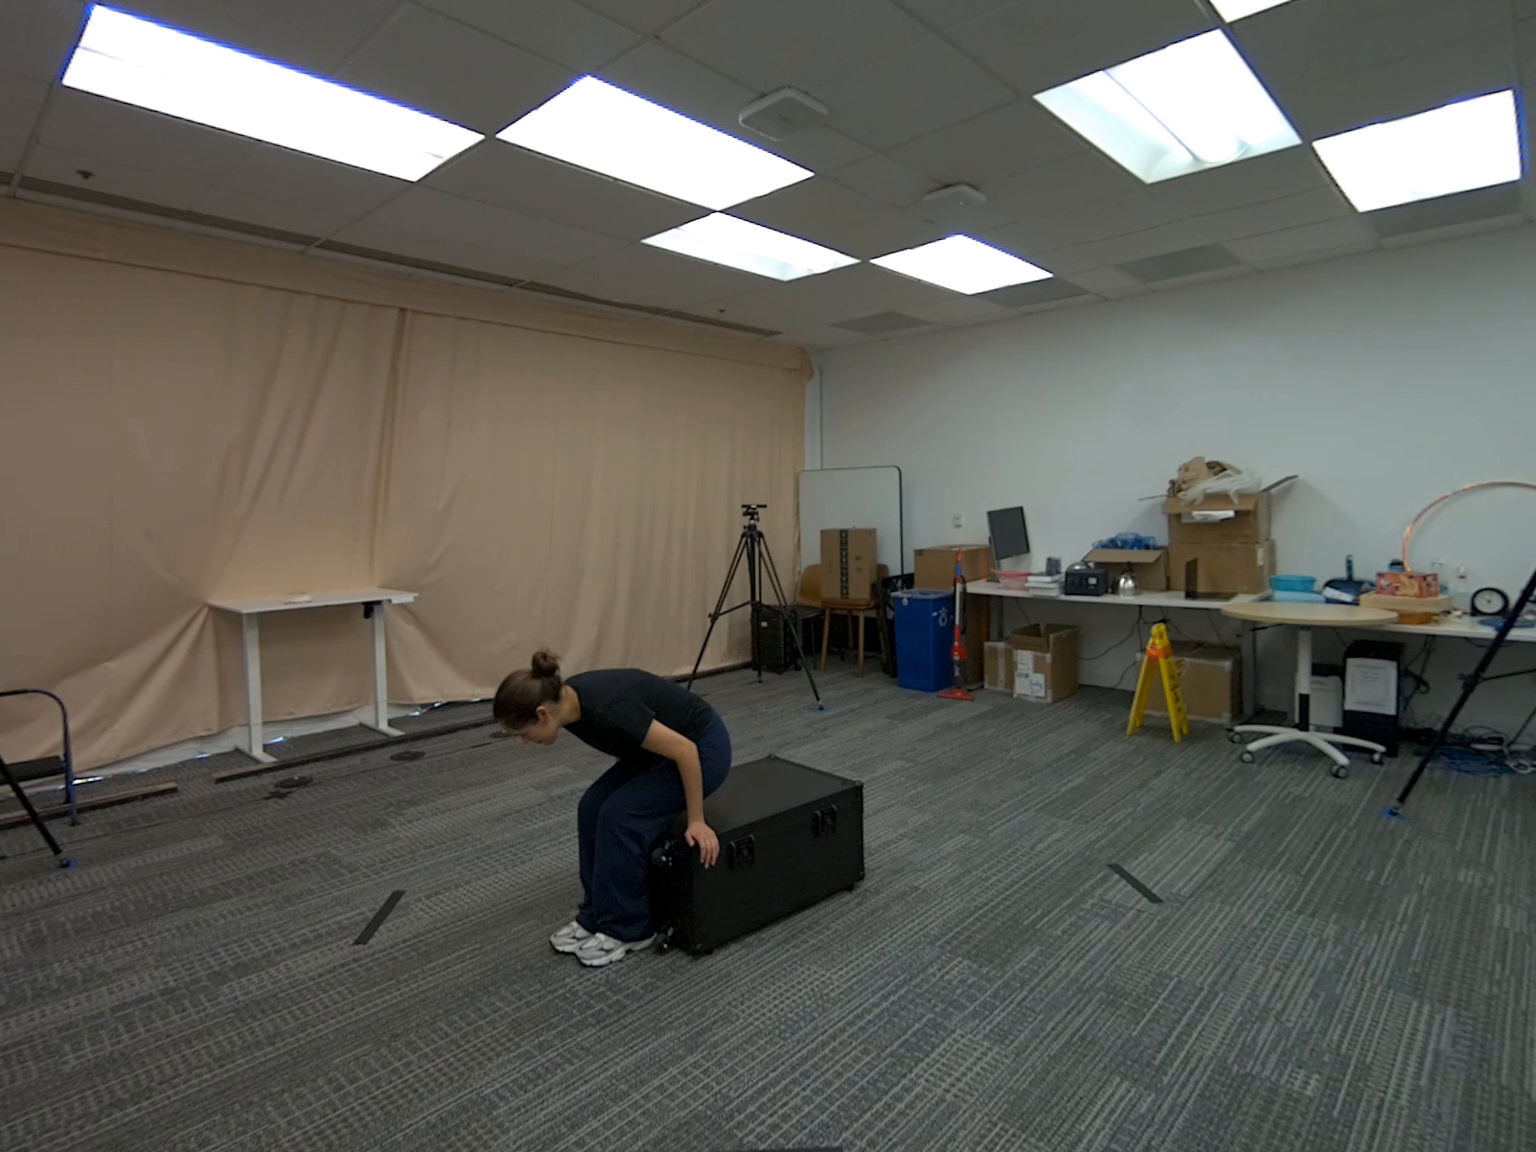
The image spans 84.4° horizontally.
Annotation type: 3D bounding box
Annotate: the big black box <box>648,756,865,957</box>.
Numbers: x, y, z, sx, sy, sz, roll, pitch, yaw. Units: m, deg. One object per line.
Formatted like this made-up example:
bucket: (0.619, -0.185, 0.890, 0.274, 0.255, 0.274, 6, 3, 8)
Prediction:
big black box: (-0.059, 0.951, 3.002, 0.836, 0.395, 0.538, -7, 7, -40)
